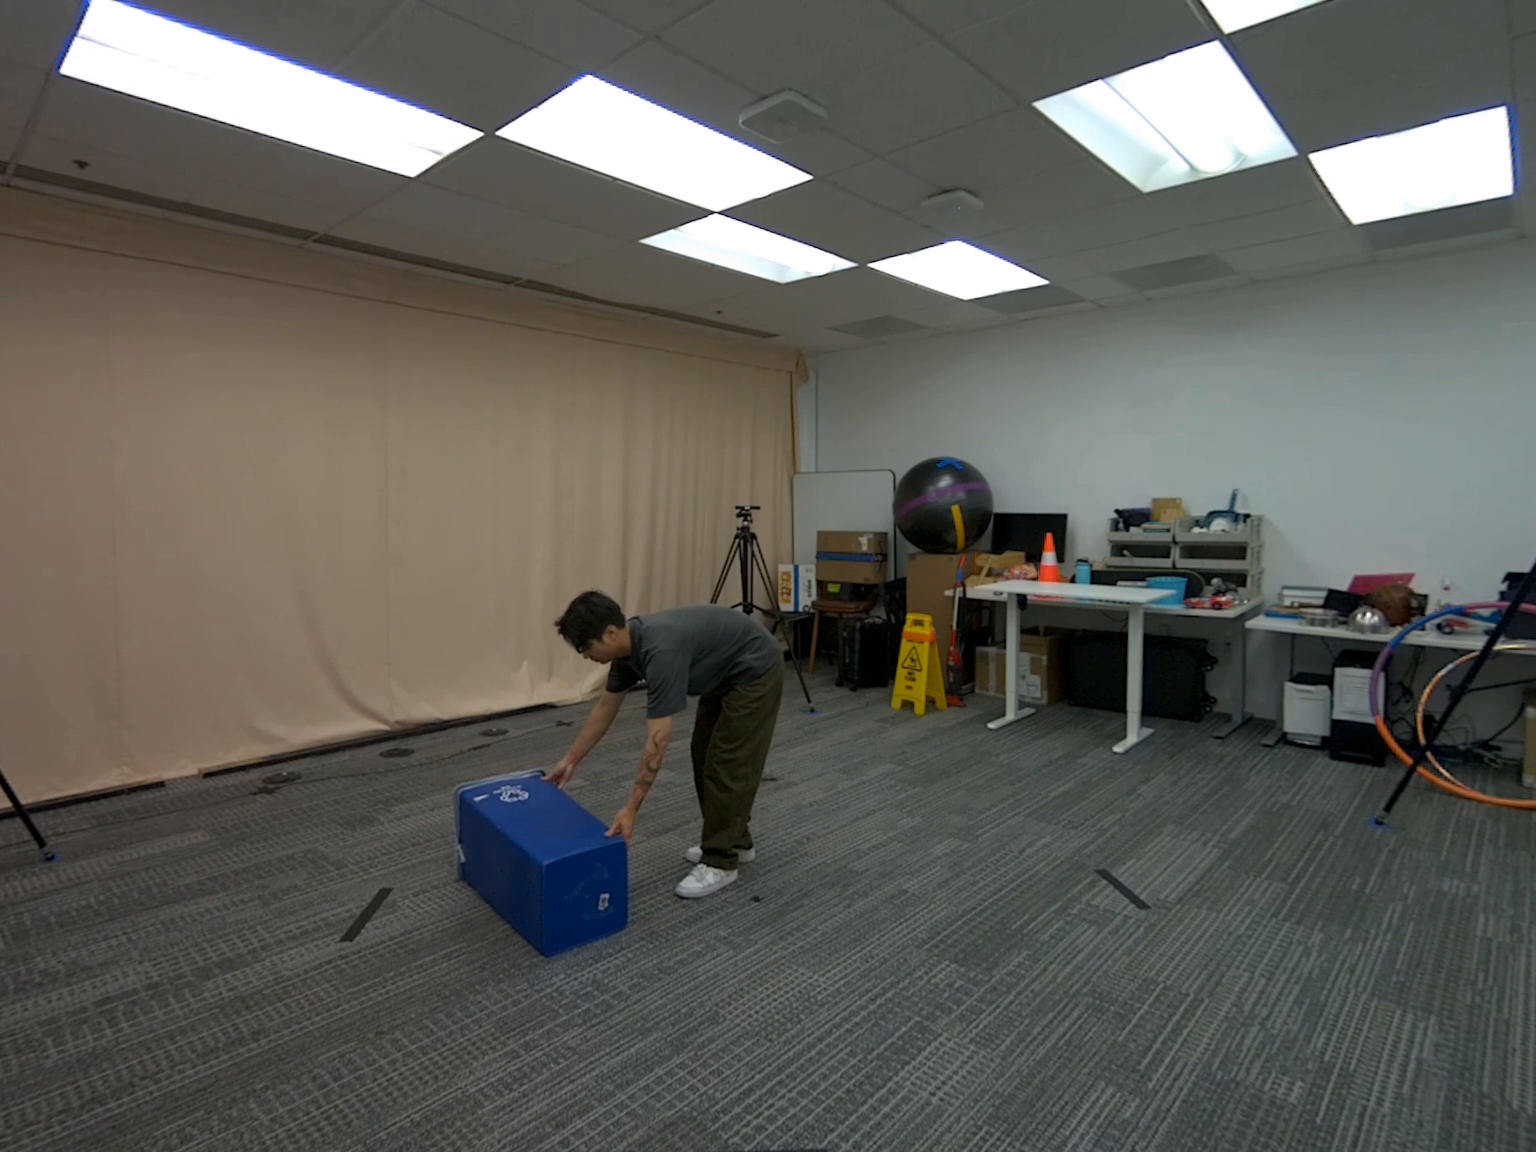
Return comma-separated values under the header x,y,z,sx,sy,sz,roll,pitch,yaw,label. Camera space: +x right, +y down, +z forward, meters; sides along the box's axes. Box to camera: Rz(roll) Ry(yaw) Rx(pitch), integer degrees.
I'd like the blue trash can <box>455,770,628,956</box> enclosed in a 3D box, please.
x,y,z,sx,sy,sz,roll,pitch,yaw,label
-0.804,0.980,2.955,0.367,0.373,0.737,-3,7,-39,blue trash can
